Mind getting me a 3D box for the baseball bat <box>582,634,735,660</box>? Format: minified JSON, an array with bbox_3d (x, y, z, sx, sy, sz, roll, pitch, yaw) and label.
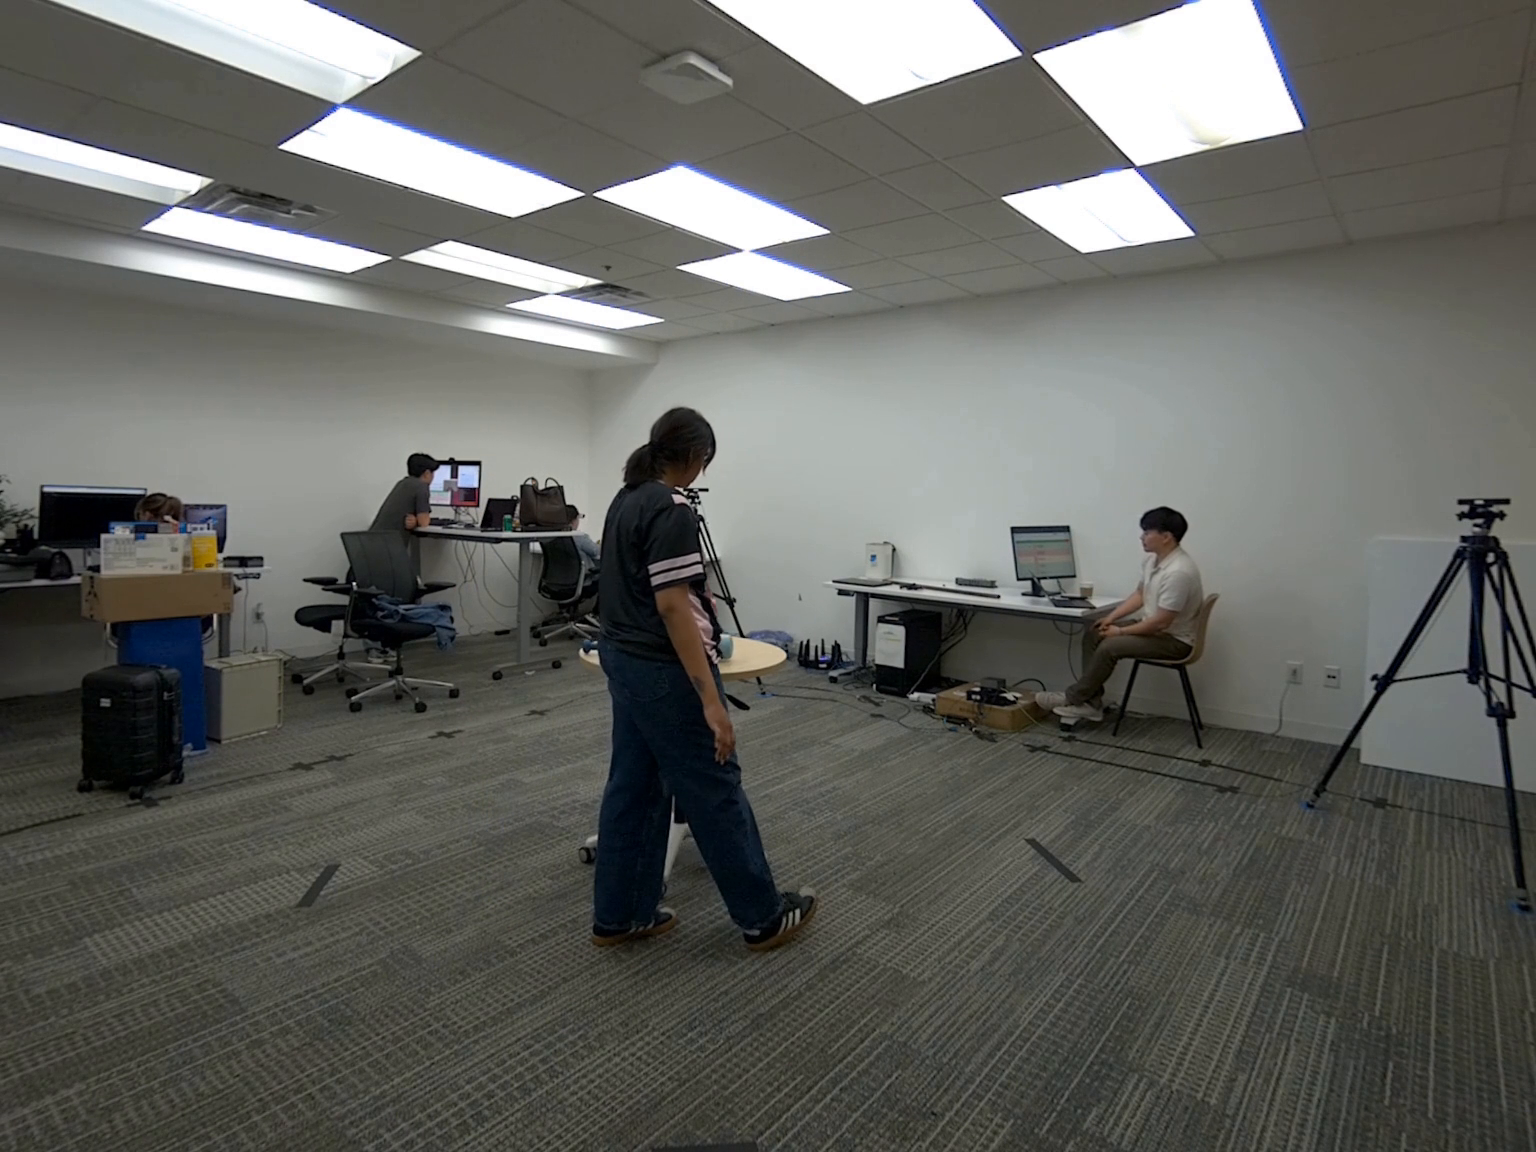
[{"bbox_3d":[-0.404,0.255,3.028,0.545,0.089,0.089,-1,4,4],"label":"baseball bat"}]
